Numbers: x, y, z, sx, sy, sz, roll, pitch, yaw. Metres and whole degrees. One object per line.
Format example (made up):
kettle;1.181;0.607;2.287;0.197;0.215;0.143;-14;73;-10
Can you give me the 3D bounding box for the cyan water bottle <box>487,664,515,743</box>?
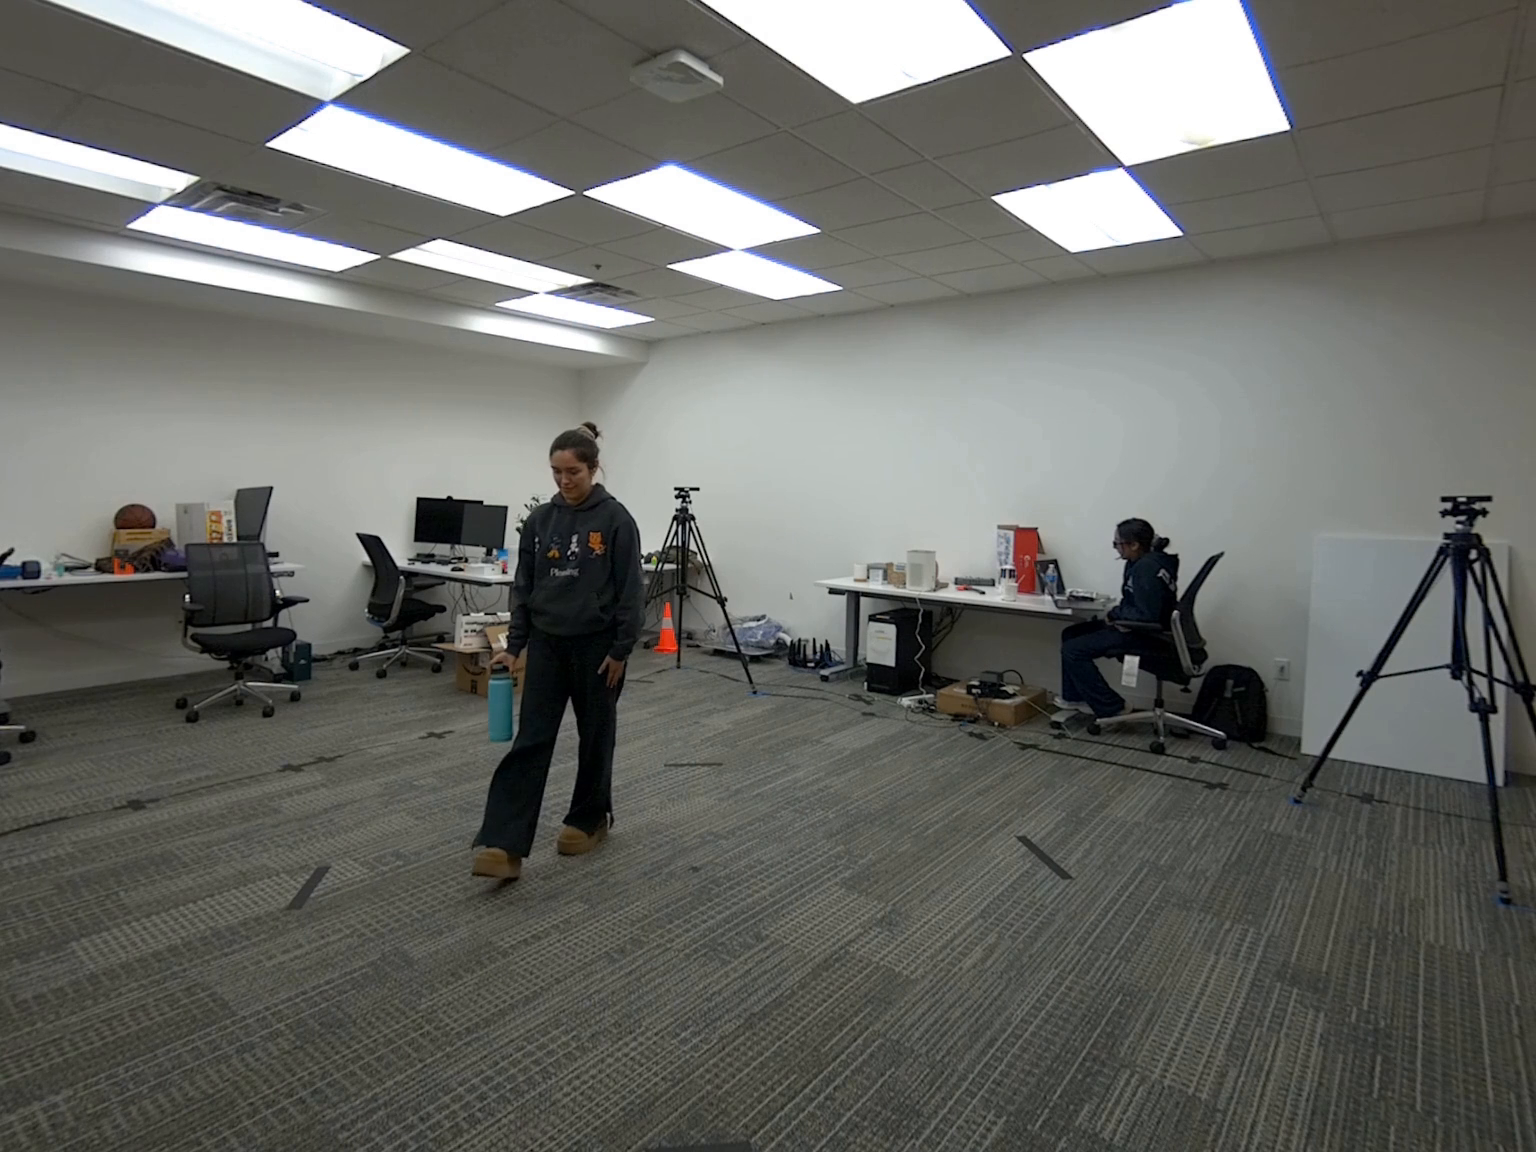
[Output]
cyan water bottle;-0.993;0.468;3.166;0.092;0.283;0.092;-1;0;-2
